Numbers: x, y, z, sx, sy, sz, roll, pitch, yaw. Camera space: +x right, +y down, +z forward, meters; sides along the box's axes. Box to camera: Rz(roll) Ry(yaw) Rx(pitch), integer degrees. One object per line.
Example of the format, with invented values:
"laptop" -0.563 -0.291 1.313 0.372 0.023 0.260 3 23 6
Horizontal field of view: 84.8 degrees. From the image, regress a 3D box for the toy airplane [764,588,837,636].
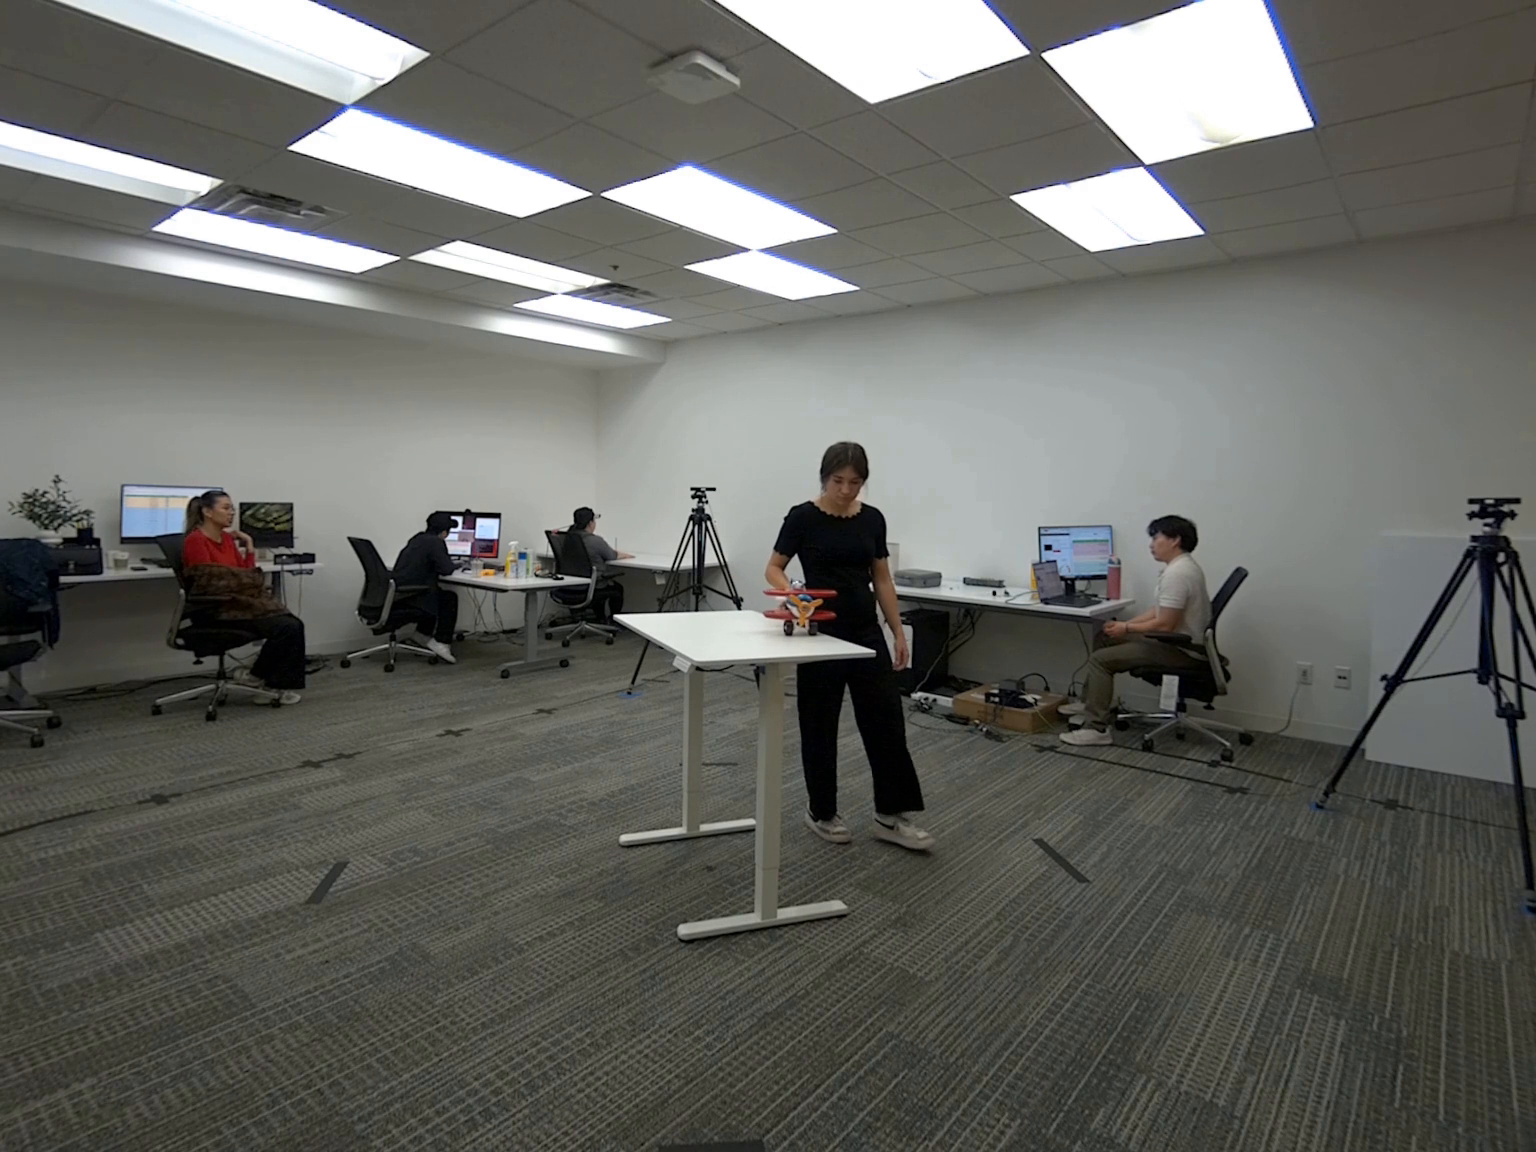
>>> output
"toy airplane" 0.075 0.098 3.023 0.245 0.154 0.270 -9 24 -31
